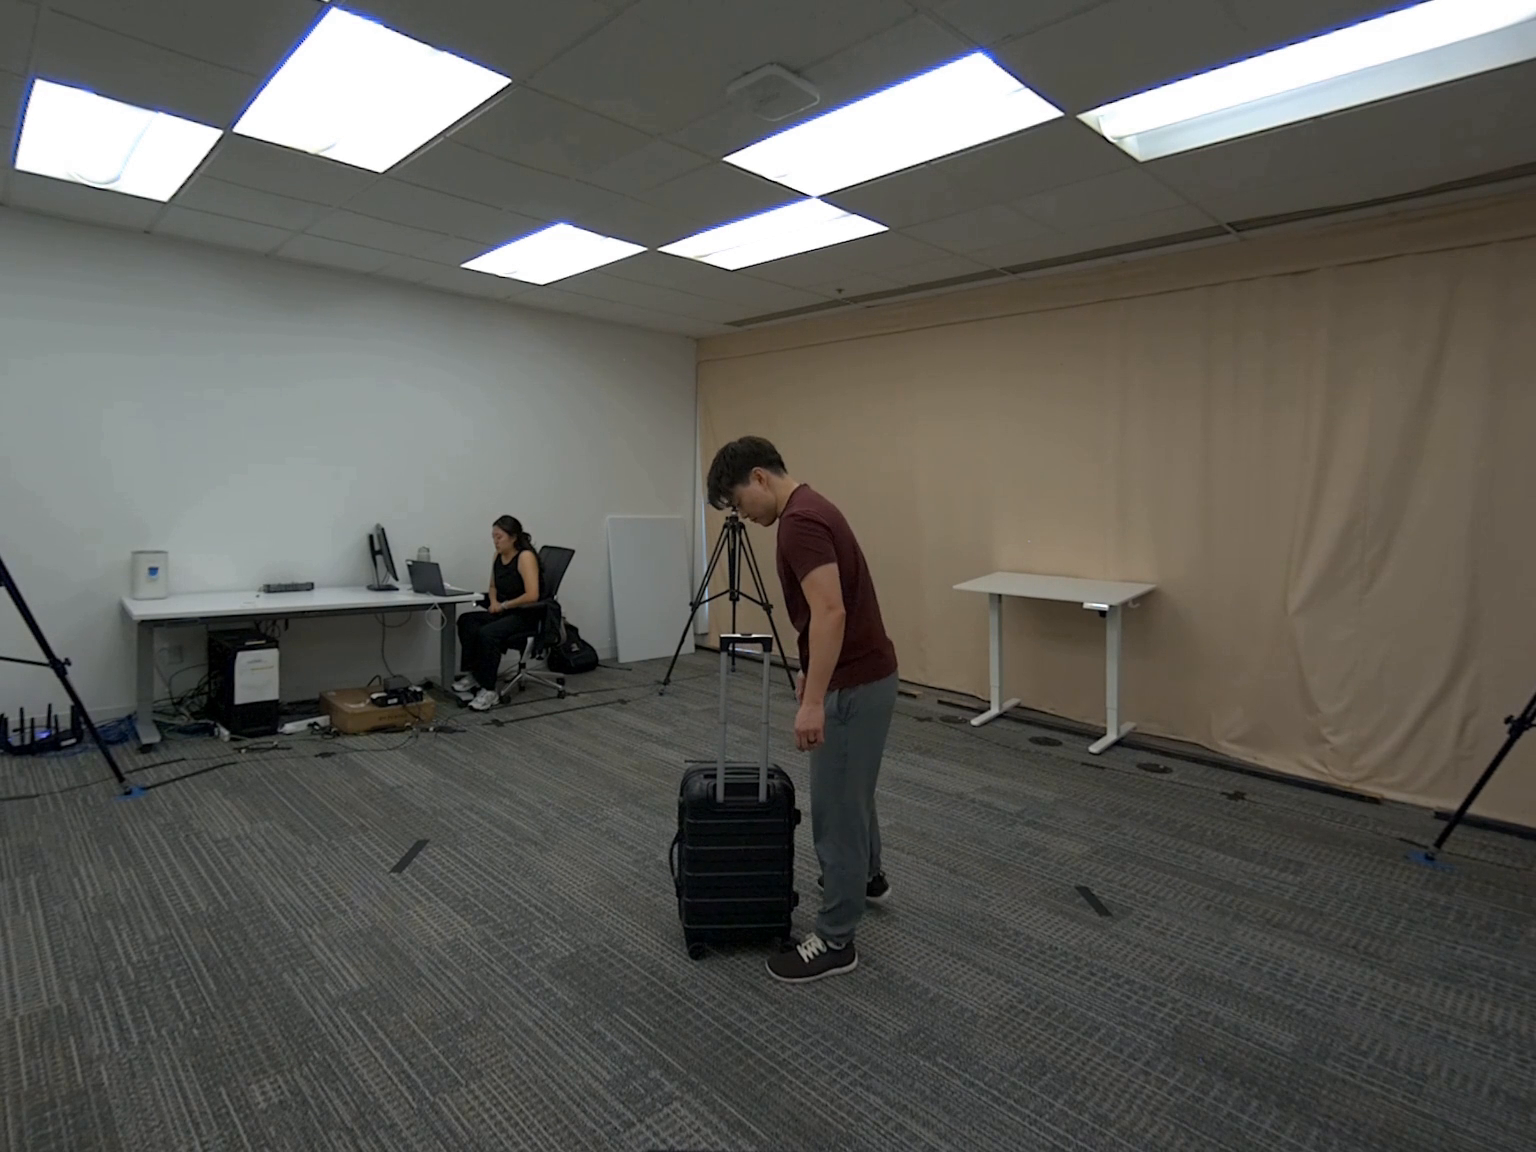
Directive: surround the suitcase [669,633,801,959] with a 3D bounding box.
[{"bbox_3d":[-0.105,0.678,2.633,0.383,0.976,0.258,1,3,-4],"label":"suitcase"}]
